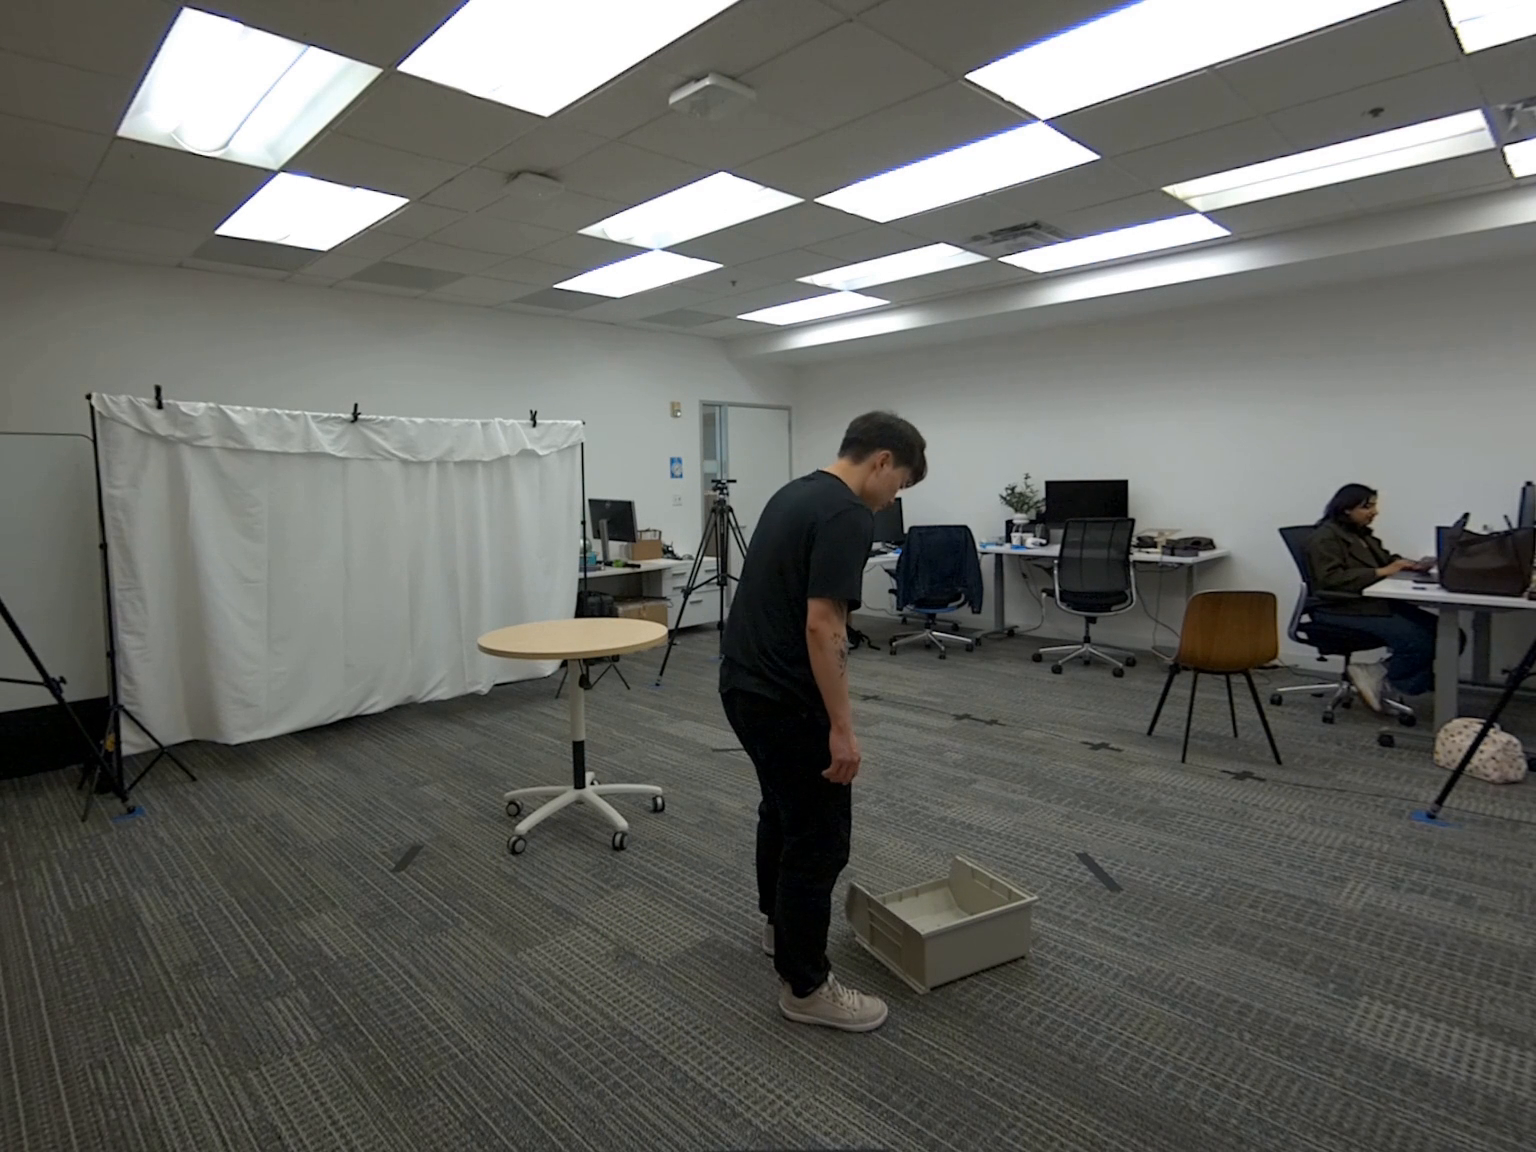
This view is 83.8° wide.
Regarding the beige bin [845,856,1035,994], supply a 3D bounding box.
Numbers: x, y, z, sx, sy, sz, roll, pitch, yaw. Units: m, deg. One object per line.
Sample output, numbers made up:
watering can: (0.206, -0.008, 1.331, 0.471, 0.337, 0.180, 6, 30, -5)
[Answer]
beige bin: (0.508, 1.010, 2.543, 0.413, 0.188, 0.387, -3, 7, -27)
